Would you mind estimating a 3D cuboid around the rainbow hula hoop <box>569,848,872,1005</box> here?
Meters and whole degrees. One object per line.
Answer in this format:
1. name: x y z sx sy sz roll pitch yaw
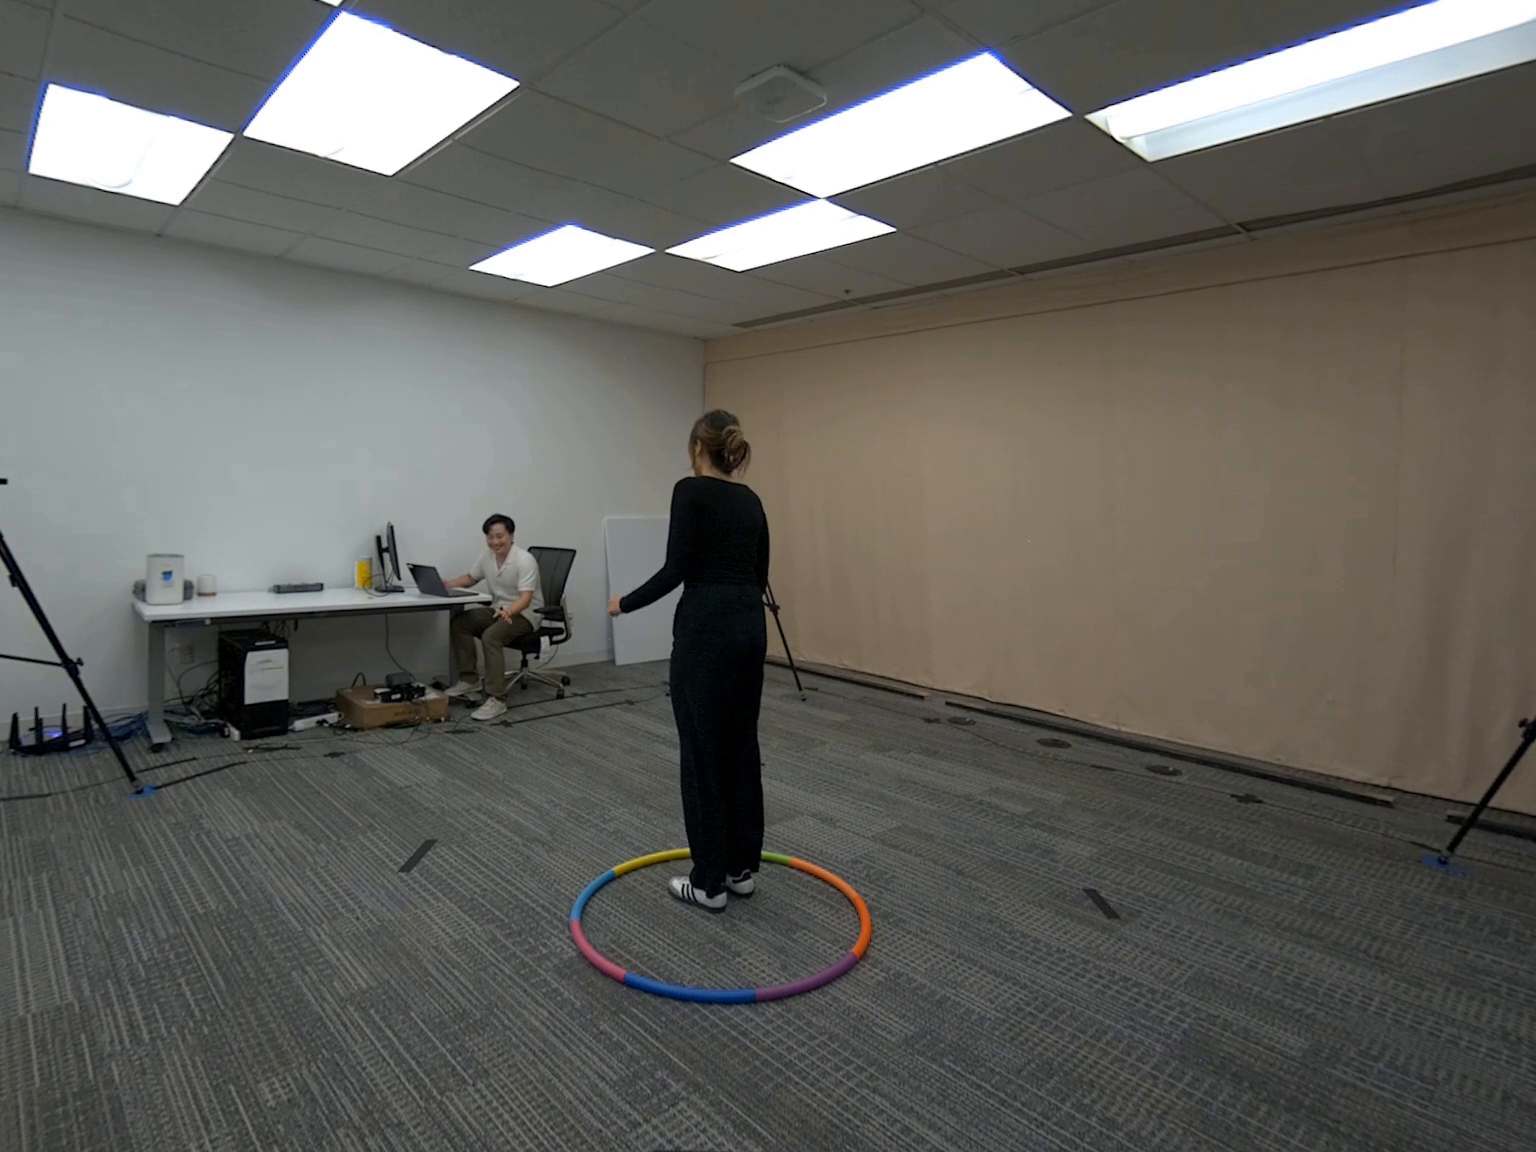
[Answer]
1. rainbow hula hoop: -0.164 1.107 2.802 0.978 0.035 0.982 1 5 -1
